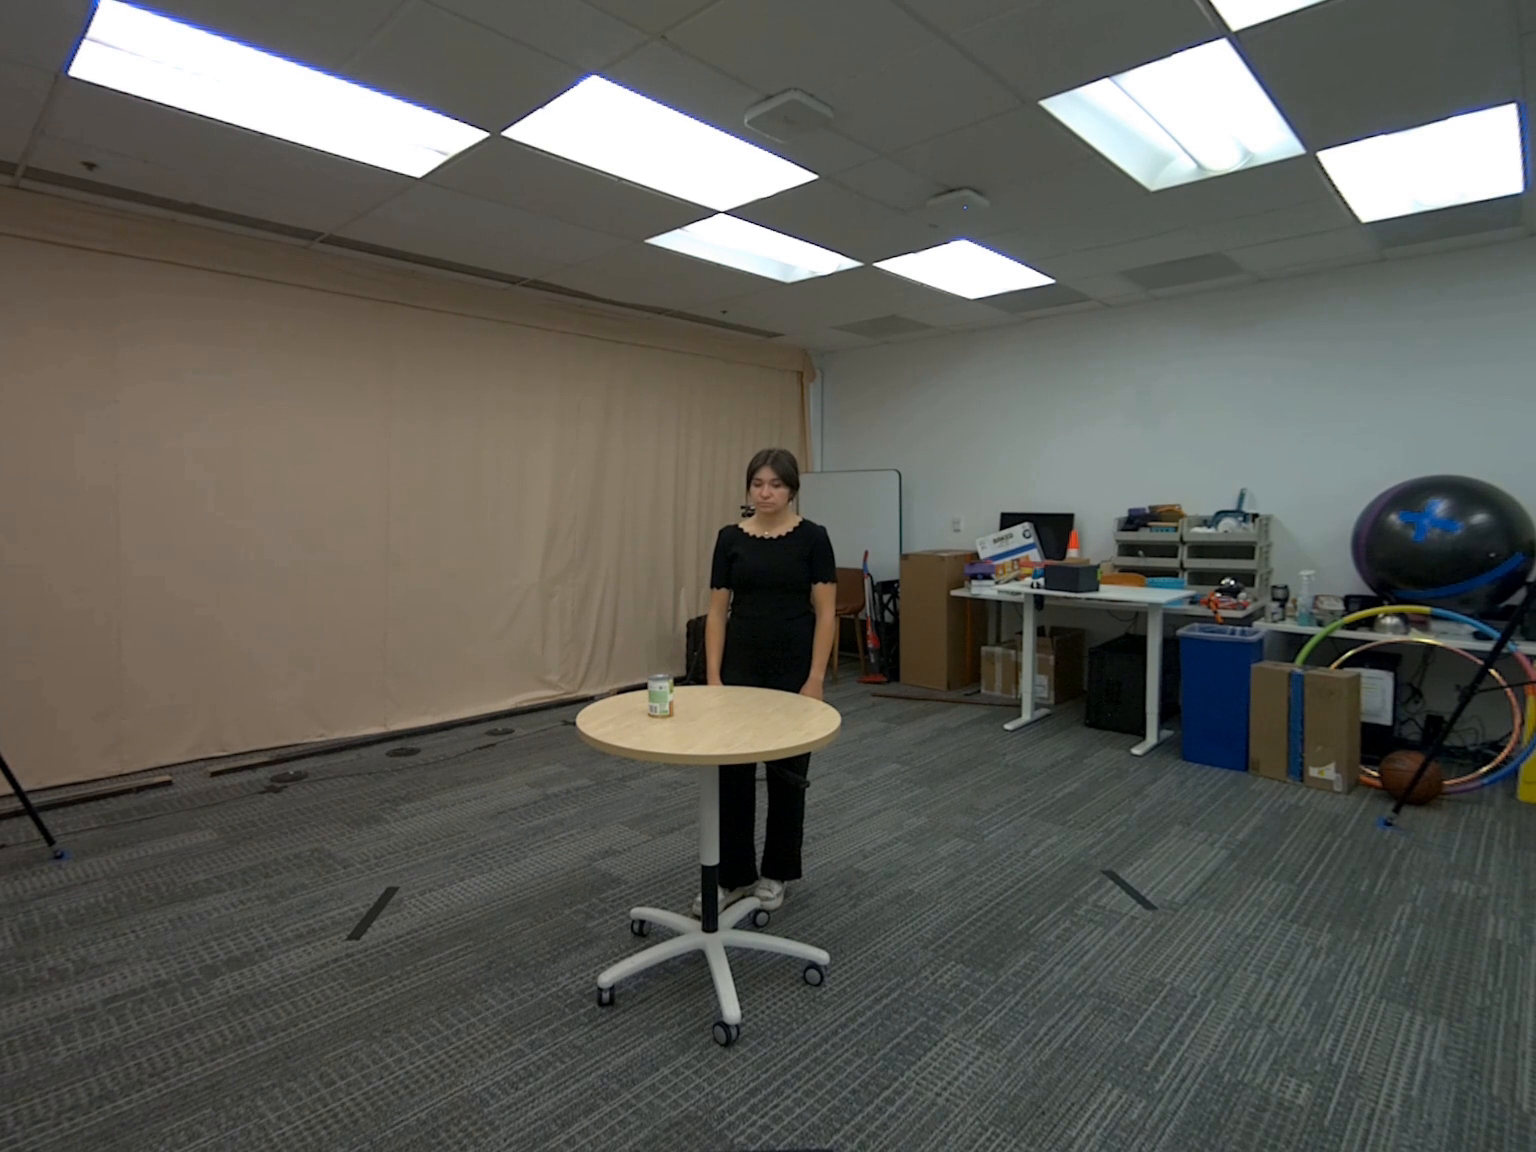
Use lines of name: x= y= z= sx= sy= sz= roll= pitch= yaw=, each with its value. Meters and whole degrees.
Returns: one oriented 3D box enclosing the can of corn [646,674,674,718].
can of corn: x=-0.317 y=0.353 z=2.441 sx=0.074 sy=0.110 sz=0.074 roll=-1 pitch=5 yaw=-2
